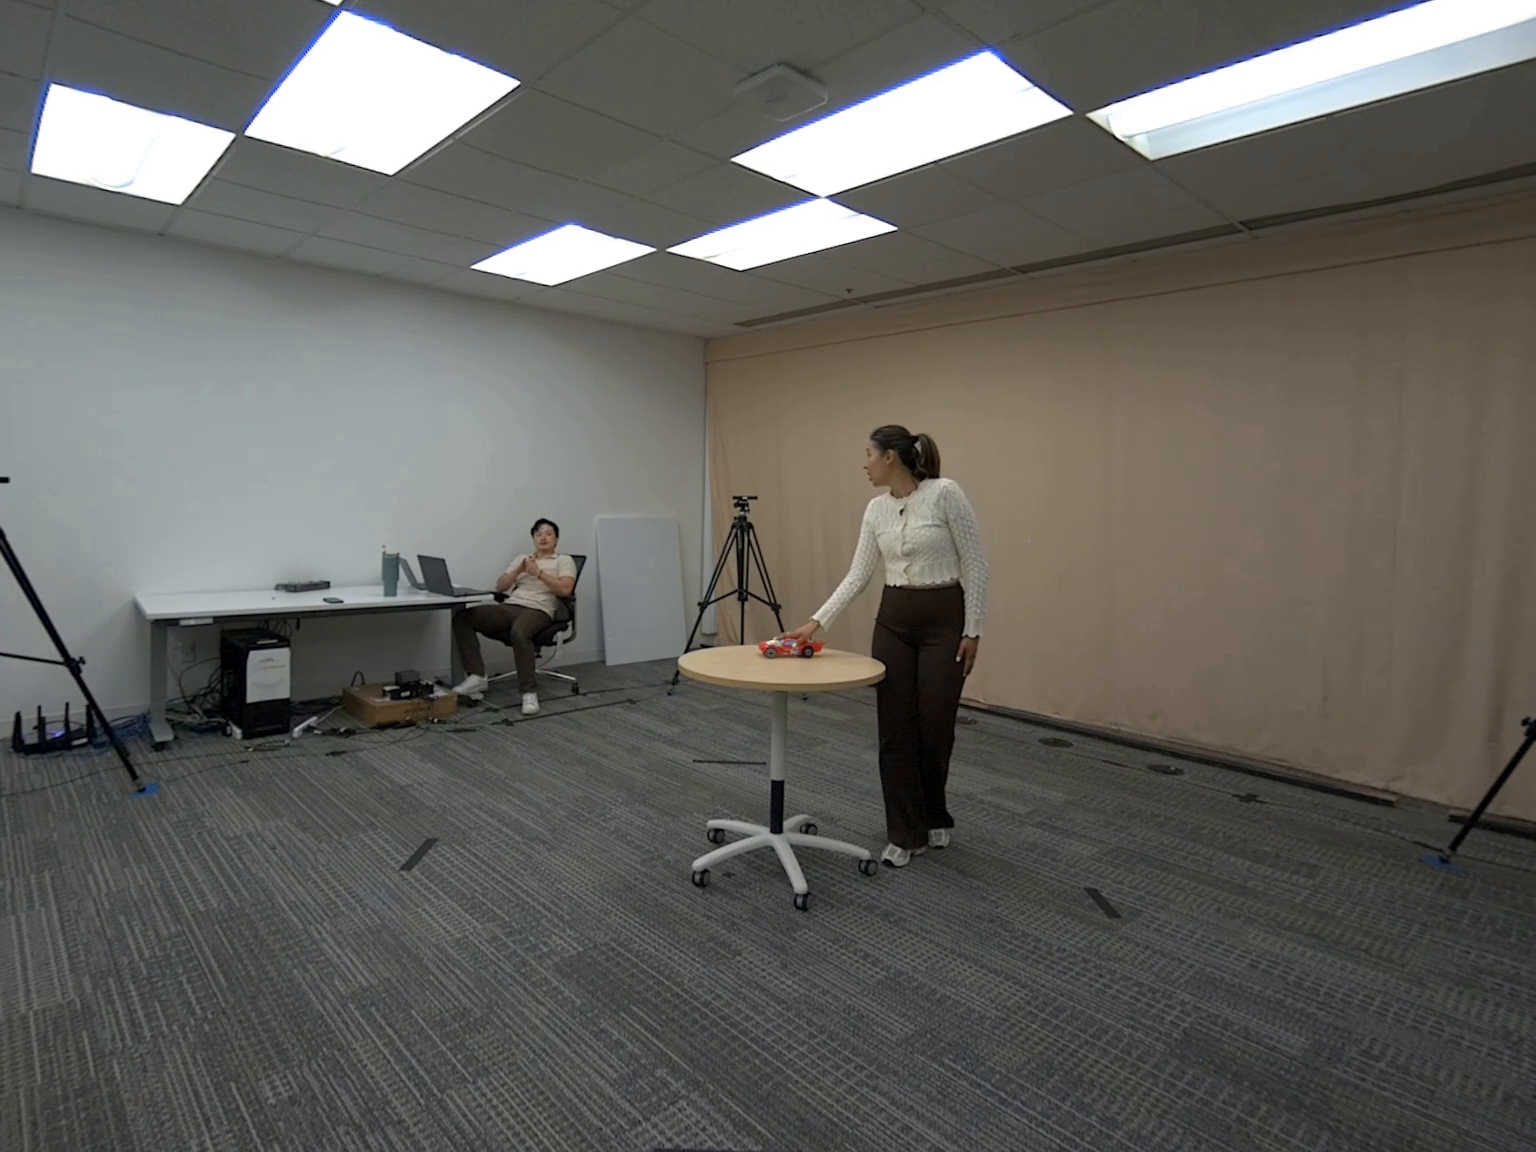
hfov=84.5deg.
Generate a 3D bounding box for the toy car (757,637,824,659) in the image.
[{"bbox_3d":[0.086,0.281,3.256,0.253,0.083,0.131,-10,6,-8],"label":"toy car"}]
